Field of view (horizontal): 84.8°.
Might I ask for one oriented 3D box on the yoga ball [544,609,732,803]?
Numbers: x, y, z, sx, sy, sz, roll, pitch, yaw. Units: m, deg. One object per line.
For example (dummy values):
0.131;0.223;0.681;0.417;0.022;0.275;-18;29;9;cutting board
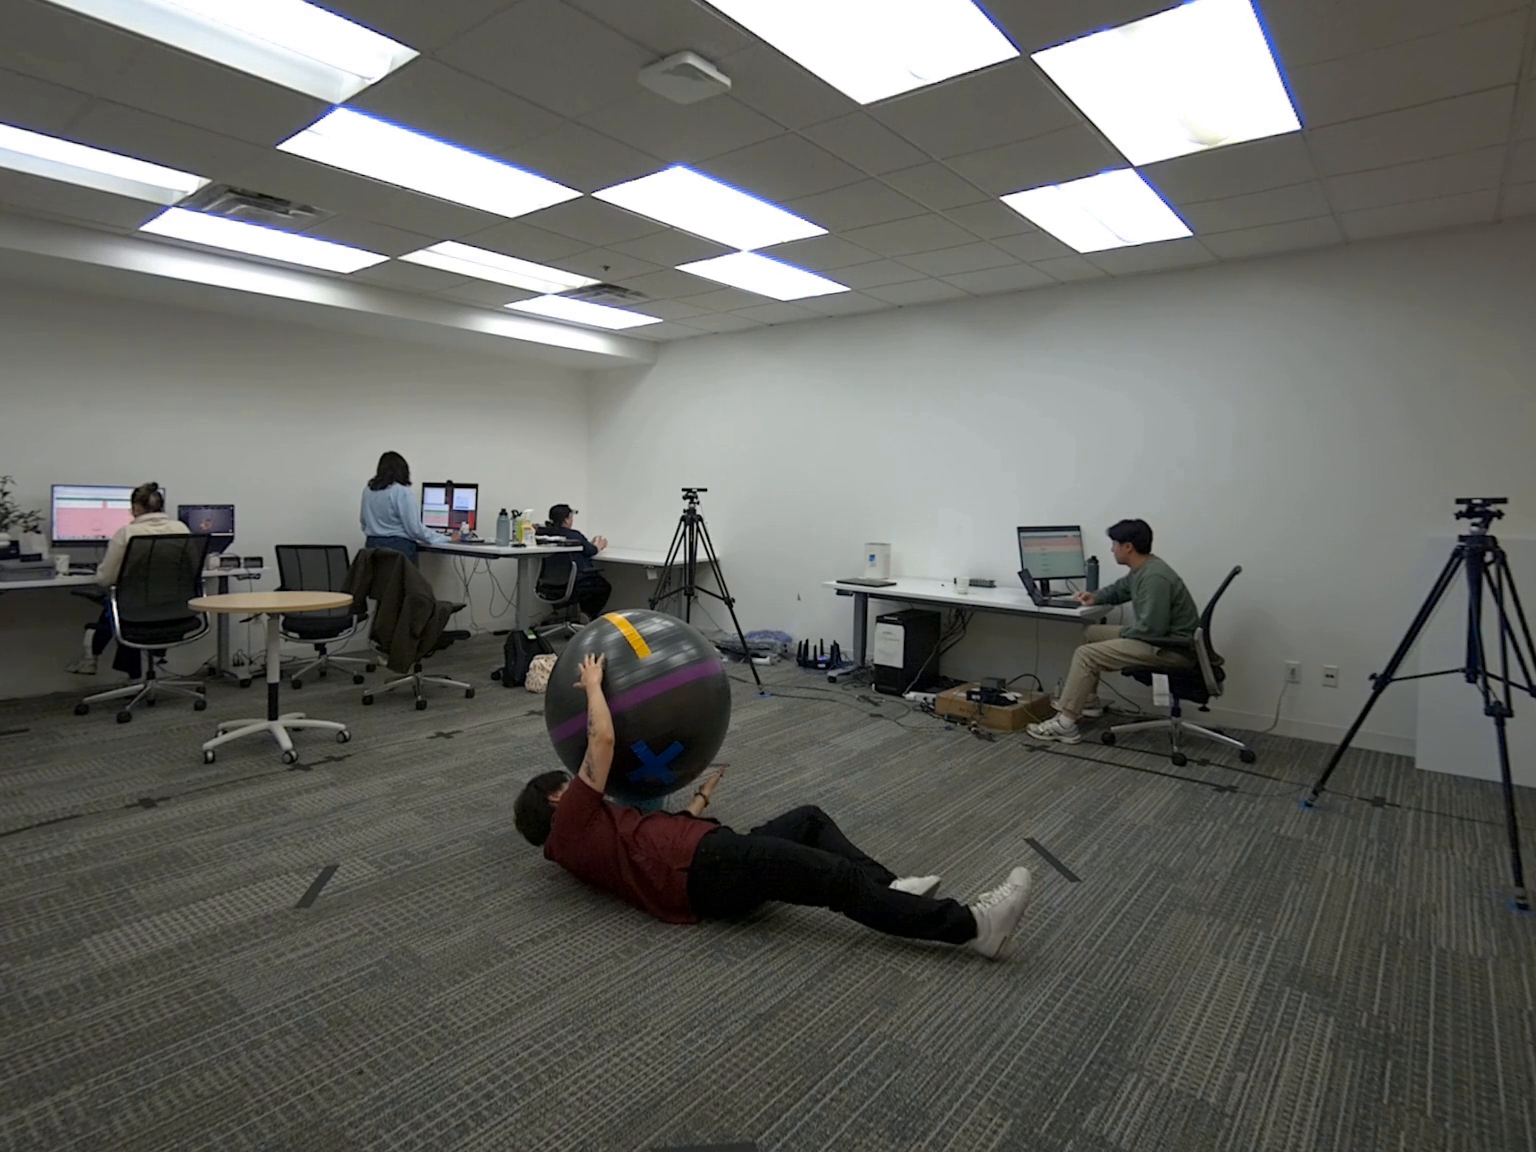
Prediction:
-0.547;0.522;3.475;0.757;0.755;0.762;1;4;-2;yoga ball
